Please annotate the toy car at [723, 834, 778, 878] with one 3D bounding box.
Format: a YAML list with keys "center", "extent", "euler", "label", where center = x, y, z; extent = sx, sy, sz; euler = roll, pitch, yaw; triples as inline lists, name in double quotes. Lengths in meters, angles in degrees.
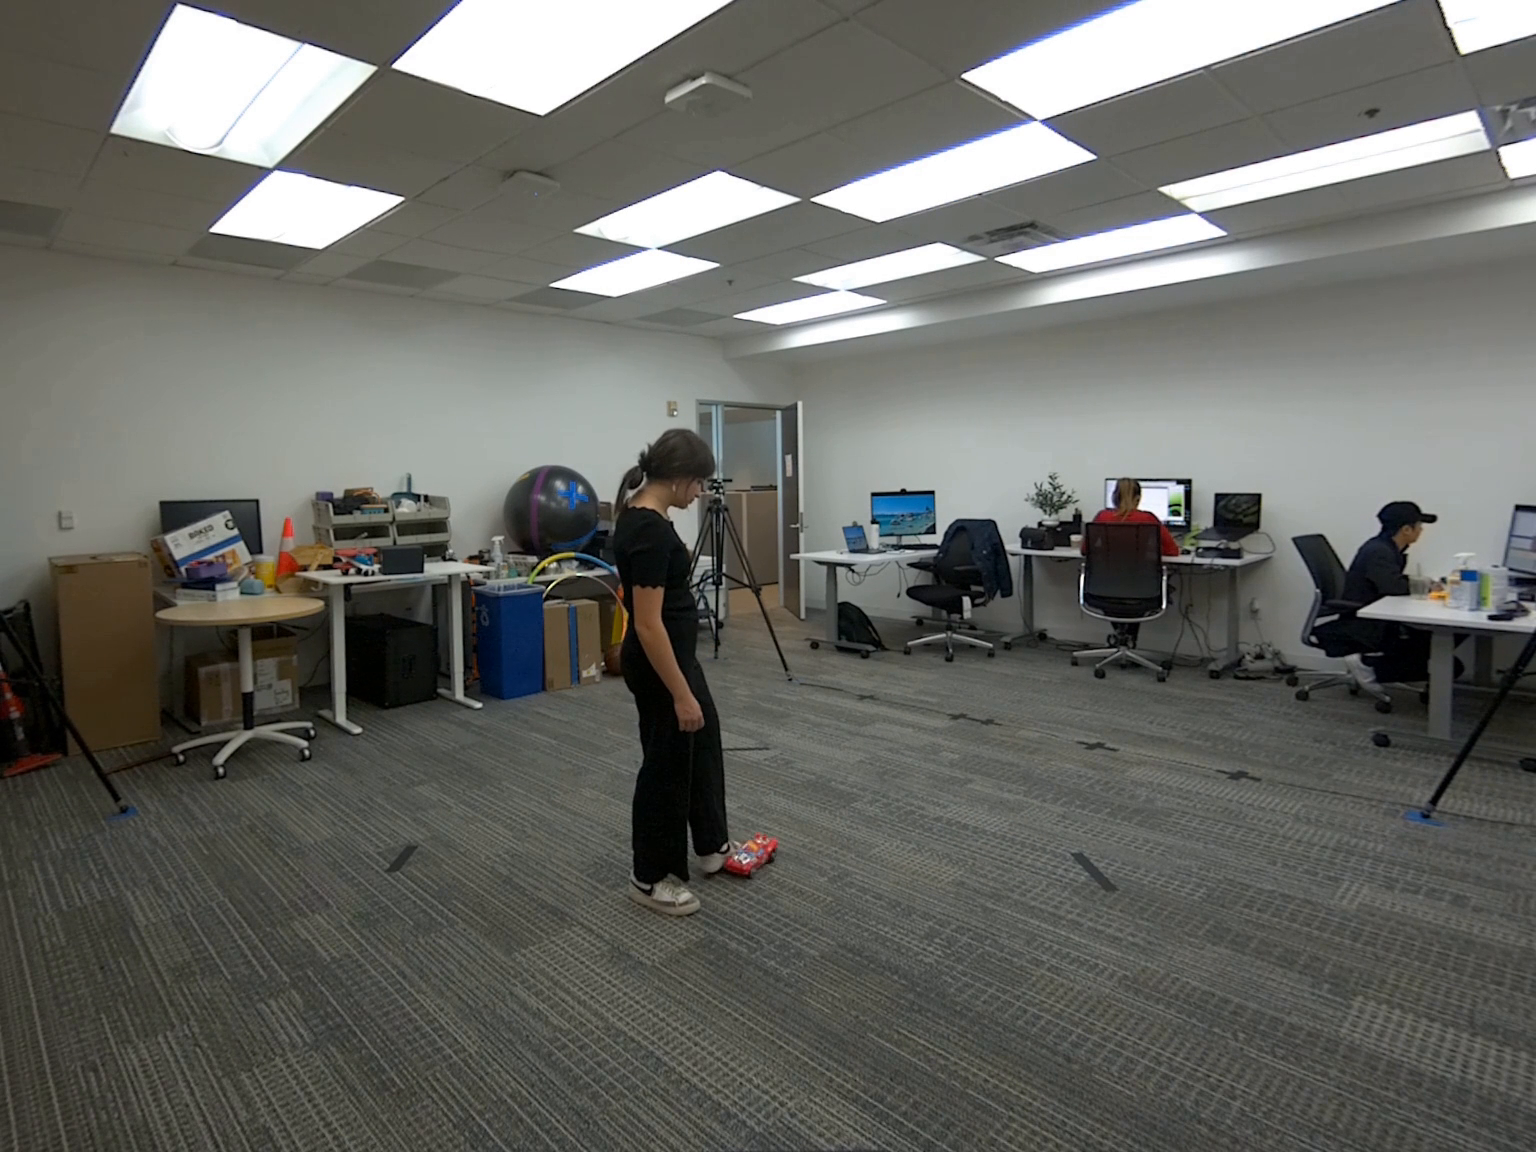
- center: [-0.047, 1.010, 3.087]
  extent: [0.134, 0.082, 0.252]
  euler: [3, 18, 29]
  label: "toy car"
